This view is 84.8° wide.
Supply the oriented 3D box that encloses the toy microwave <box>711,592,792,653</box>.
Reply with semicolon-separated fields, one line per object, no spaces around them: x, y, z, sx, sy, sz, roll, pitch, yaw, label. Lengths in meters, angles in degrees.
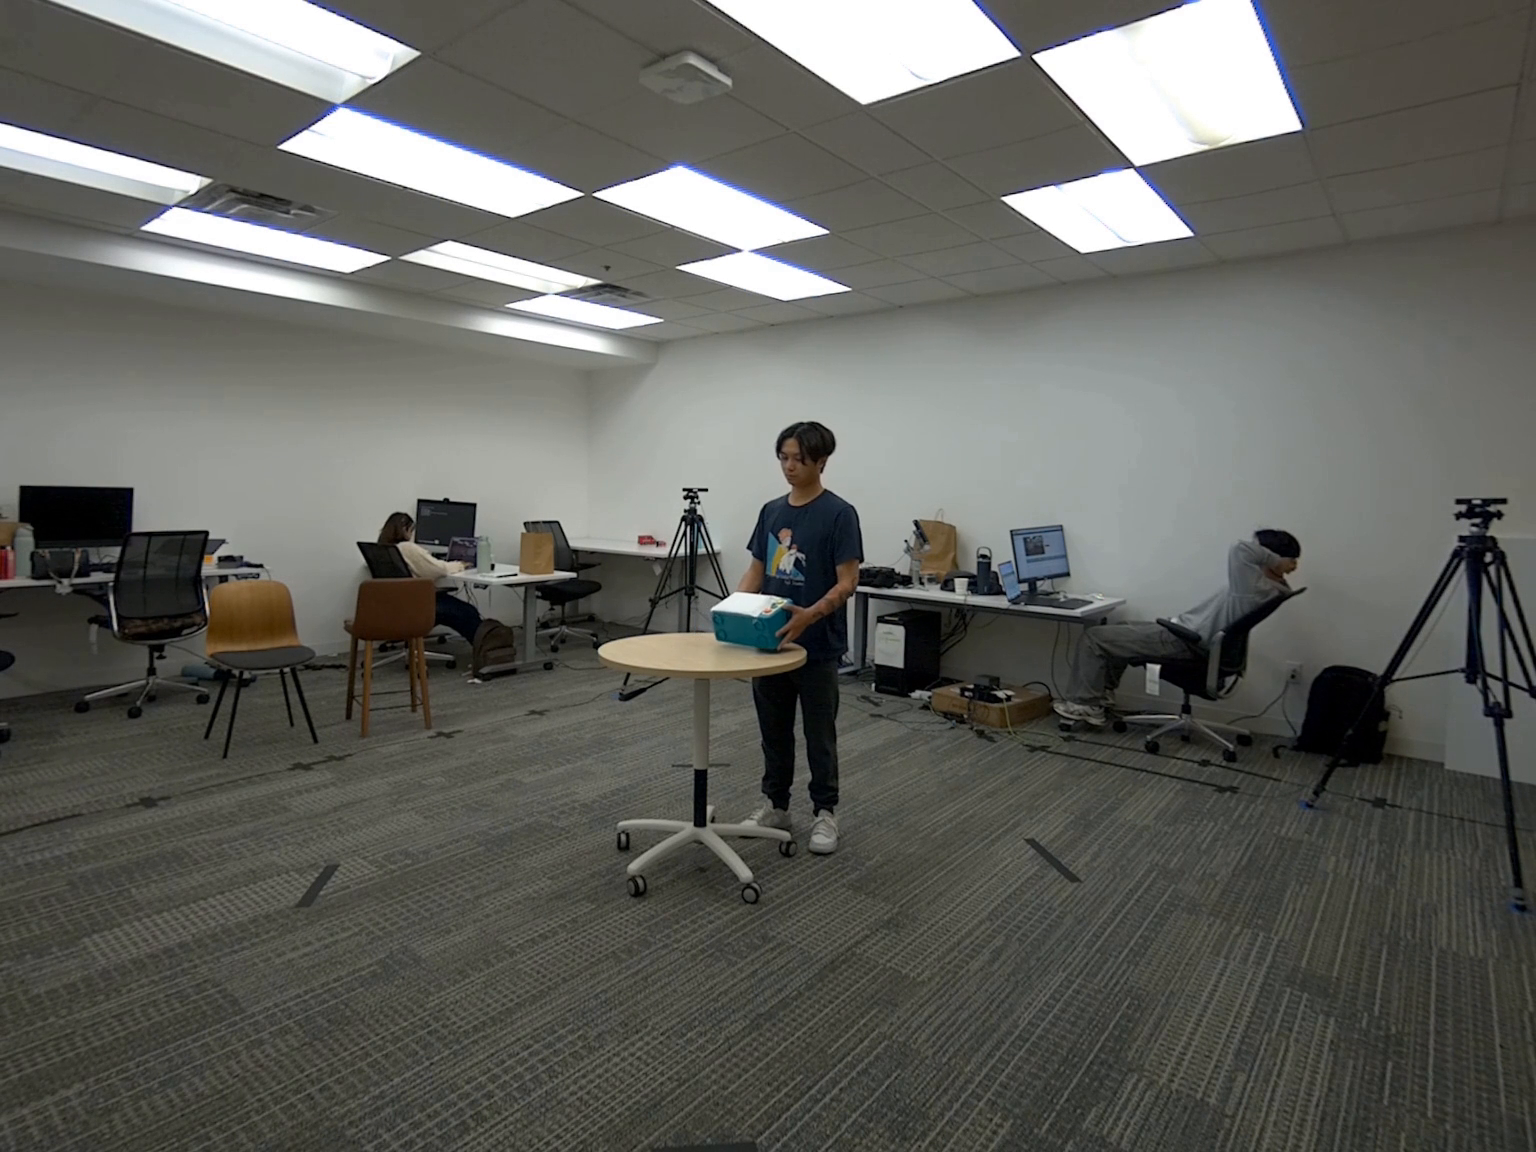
-0.074;0.155;3.159;0.295;0.149;0.182;4;24;38;toy microwave
